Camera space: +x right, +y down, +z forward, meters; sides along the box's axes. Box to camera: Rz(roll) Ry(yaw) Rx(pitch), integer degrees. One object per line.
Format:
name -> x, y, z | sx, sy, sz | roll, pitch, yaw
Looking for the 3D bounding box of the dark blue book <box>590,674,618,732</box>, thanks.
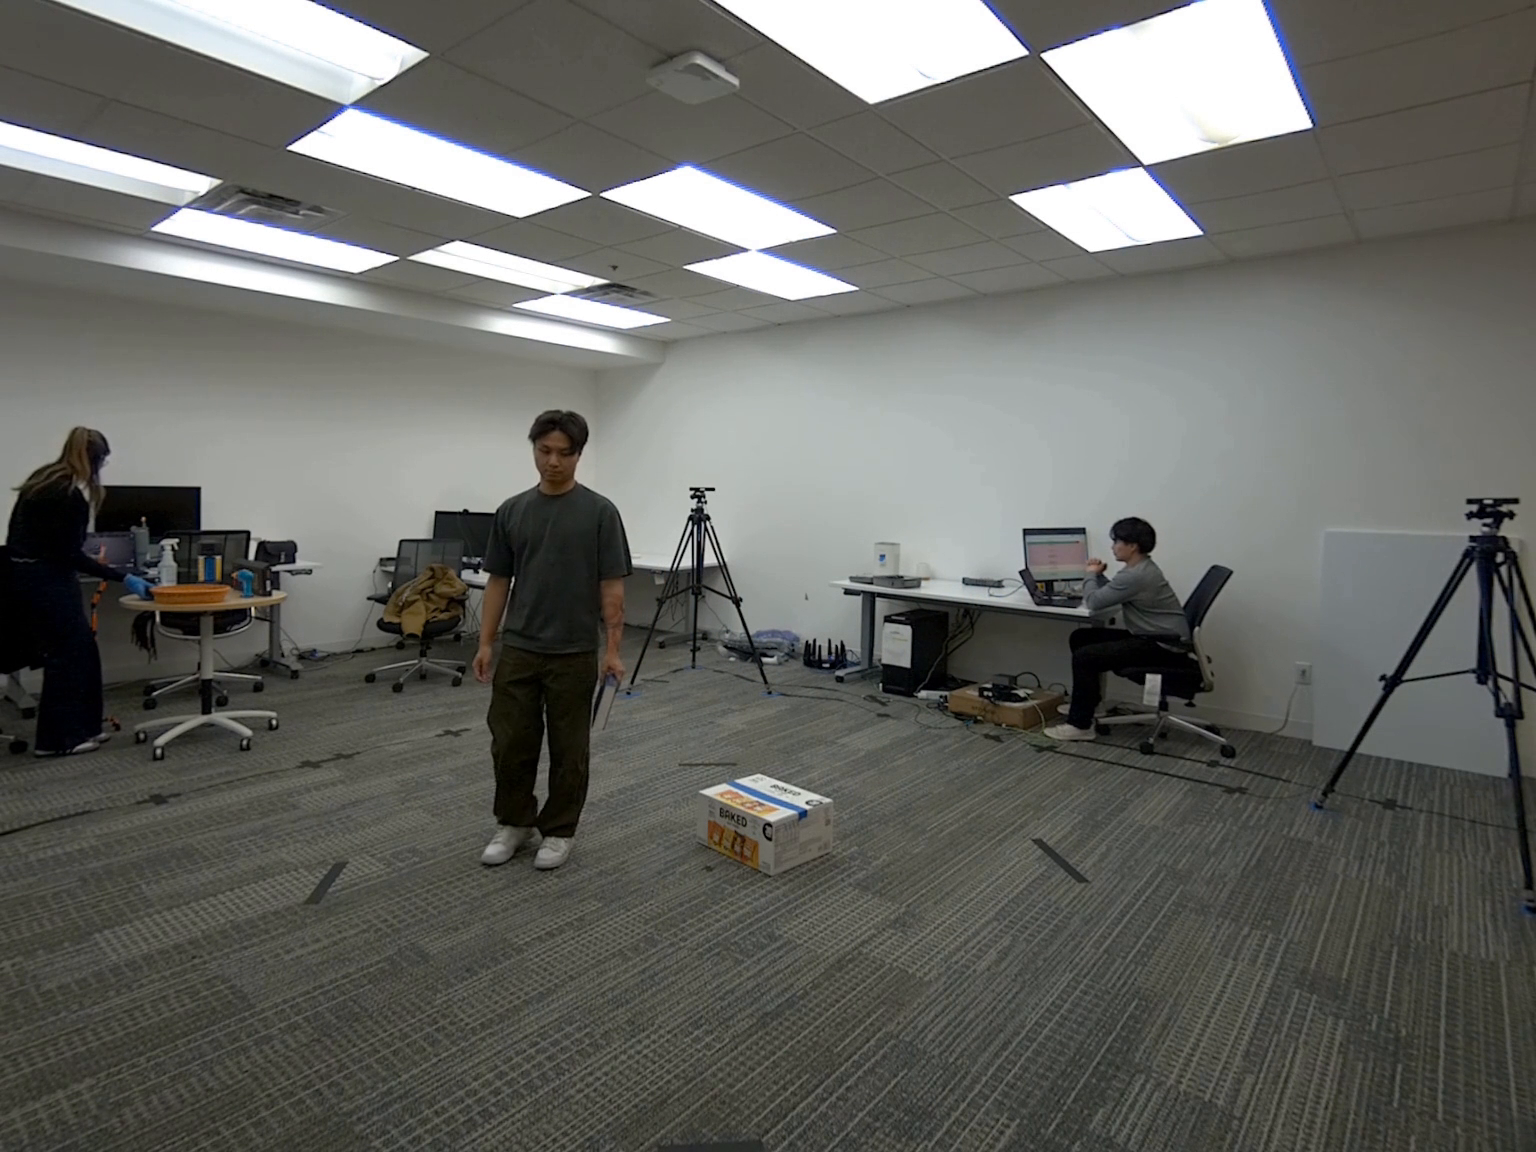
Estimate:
dark blue book -> -0.596, 0.428, 3.034 | 0.044, 0.163, 0.249 | 12, 5, -11
